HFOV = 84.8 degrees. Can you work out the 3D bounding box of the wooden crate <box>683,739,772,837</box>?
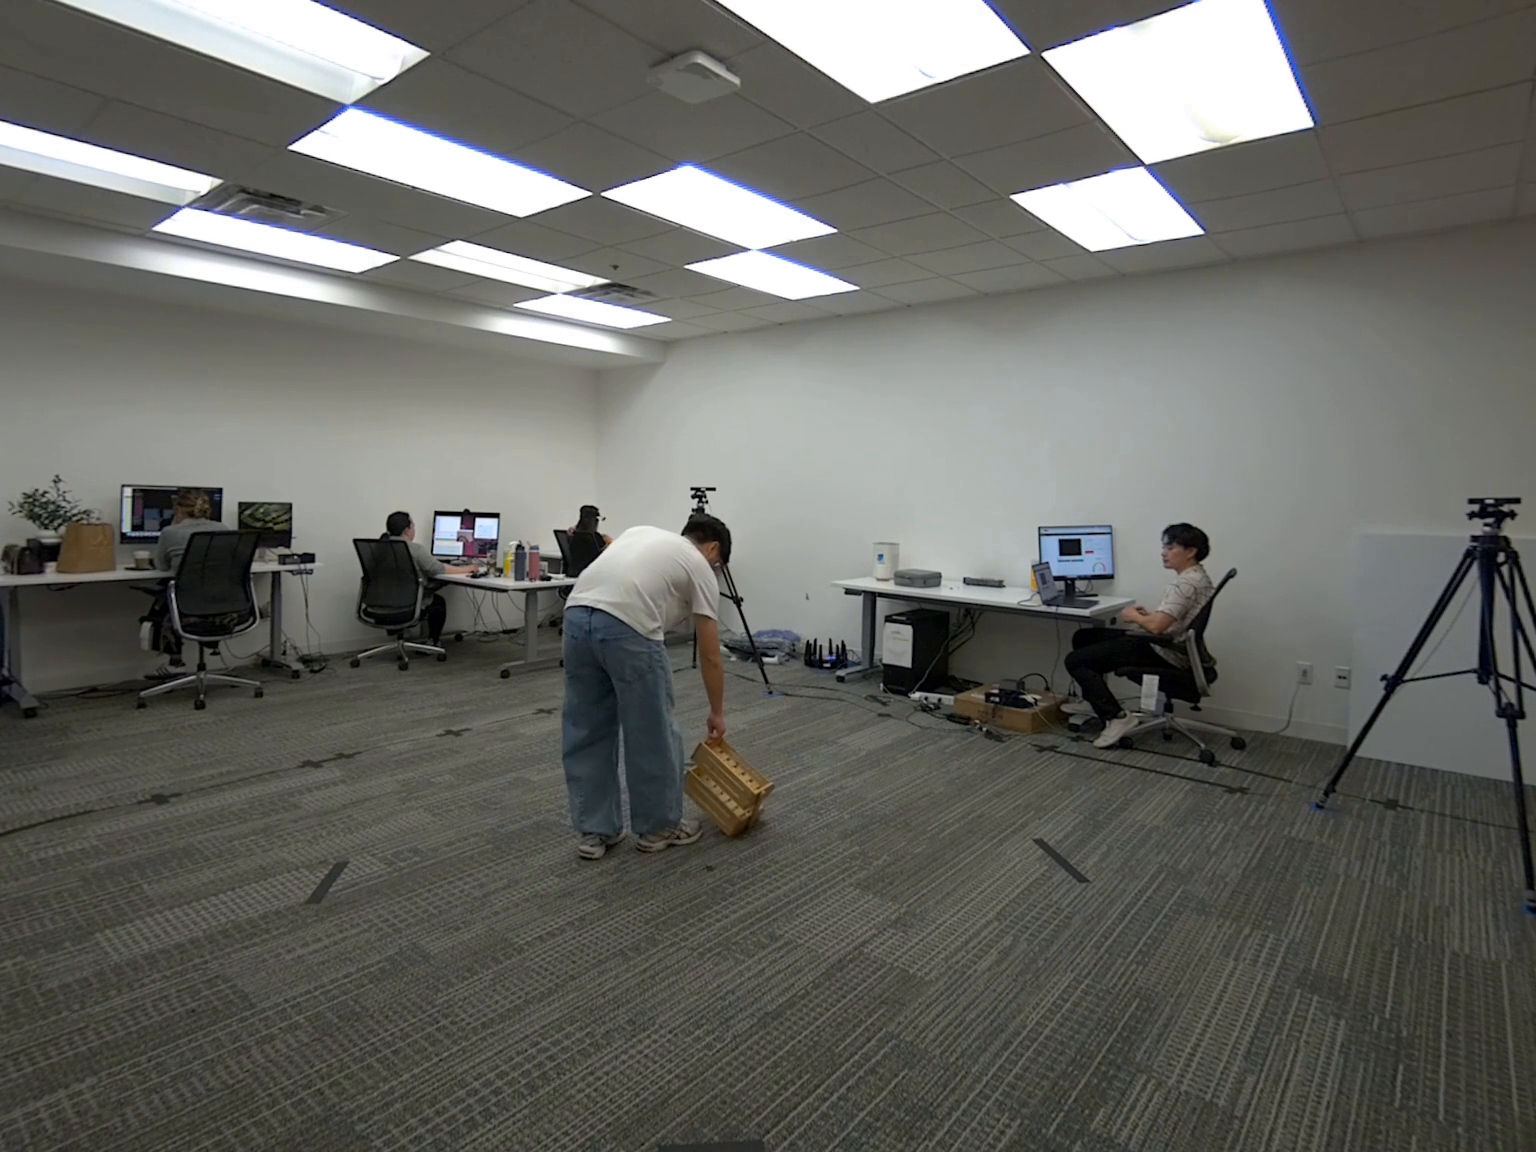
[{"bbox_3d":[-0.158,0.838,3.489,0.335,0.272,0.294,38,20,23],"label":"wooden crate"}]
